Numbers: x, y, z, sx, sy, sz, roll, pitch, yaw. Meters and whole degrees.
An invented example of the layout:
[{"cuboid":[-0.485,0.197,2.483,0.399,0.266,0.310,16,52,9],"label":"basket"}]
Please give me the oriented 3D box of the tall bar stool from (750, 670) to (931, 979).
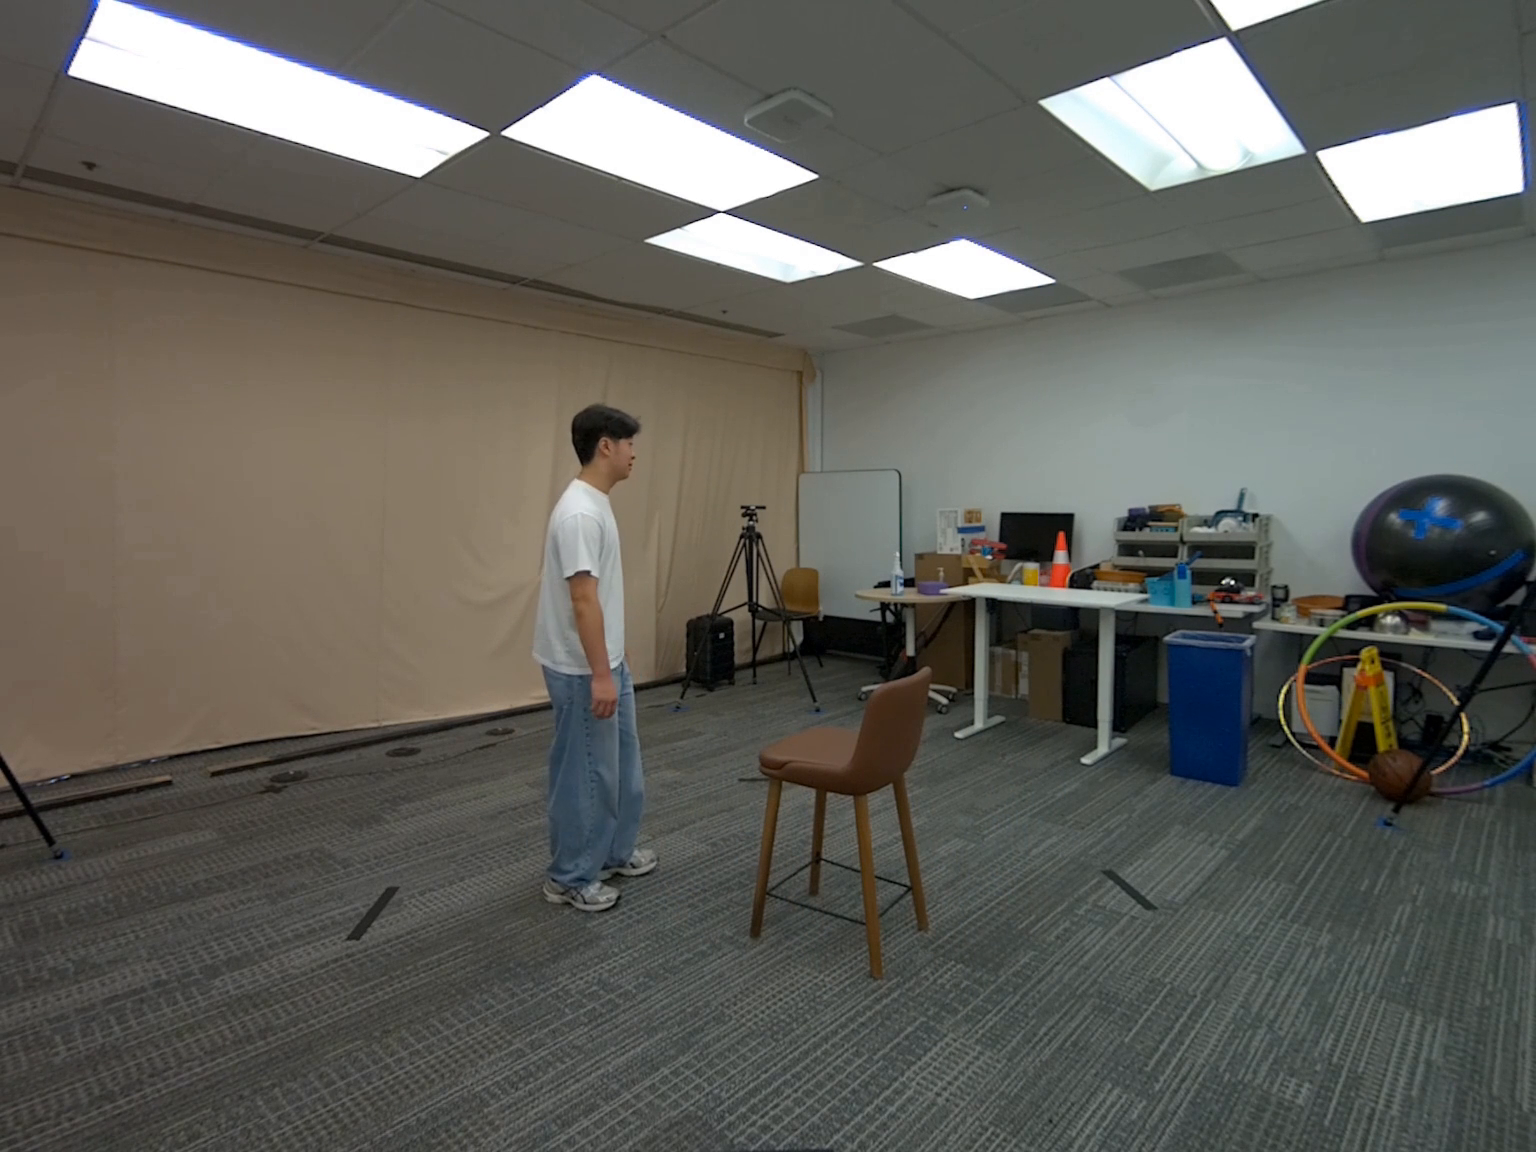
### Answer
[{"cuboid":[0.246,0.729,2.718,0.483,0.887,0.443,5,6,35],"label":"tall bar stool"}]
